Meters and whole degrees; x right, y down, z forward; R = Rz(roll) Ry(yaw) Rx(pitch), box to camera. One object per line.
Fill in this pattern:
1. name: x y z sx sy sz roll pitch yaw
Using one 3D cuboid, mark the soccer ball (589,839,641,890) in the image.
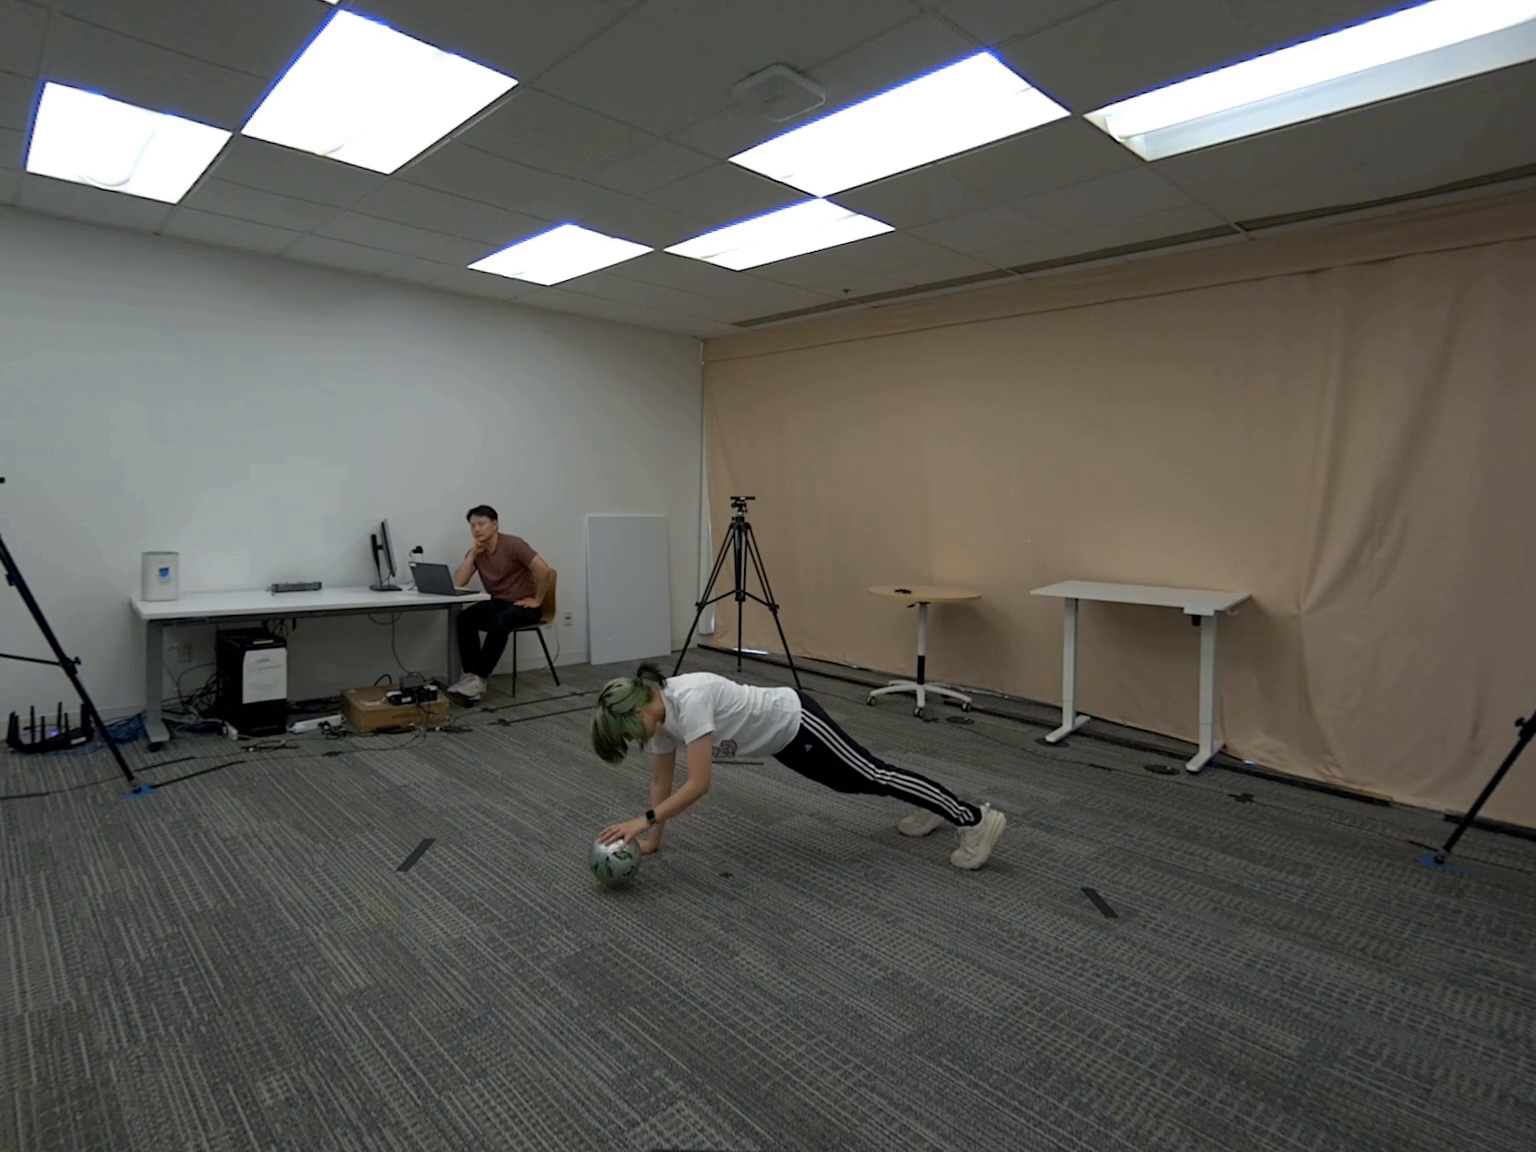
1. soccer ball: -0.540 0.998 2.966 0.187 0.187 0.188 1 4 -1
